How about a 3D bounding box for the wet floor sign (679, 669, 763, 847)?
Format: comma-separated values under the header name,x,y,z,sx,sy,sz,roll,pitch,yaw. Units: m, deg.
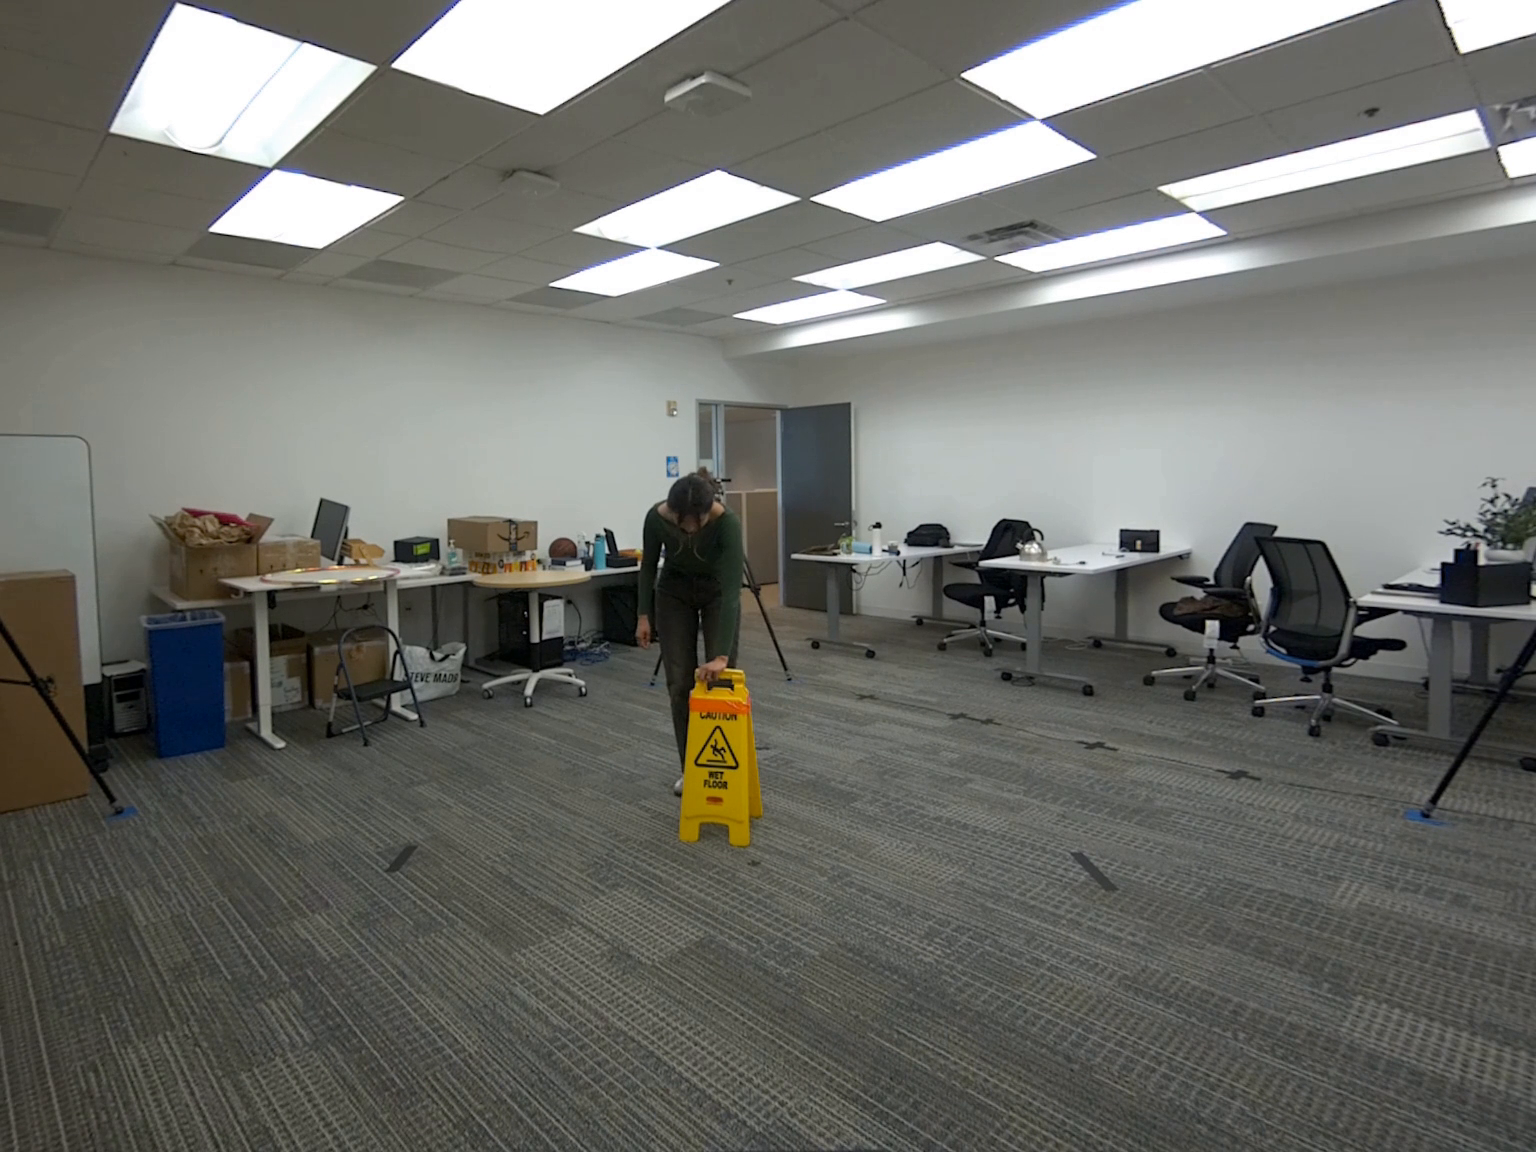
name,x,y,z,sx,sy,sz,roll,pitch,yaw
wet floor sign,-0.192,0.694,3.400,0.285,0.643,0.288,-3,4,10
